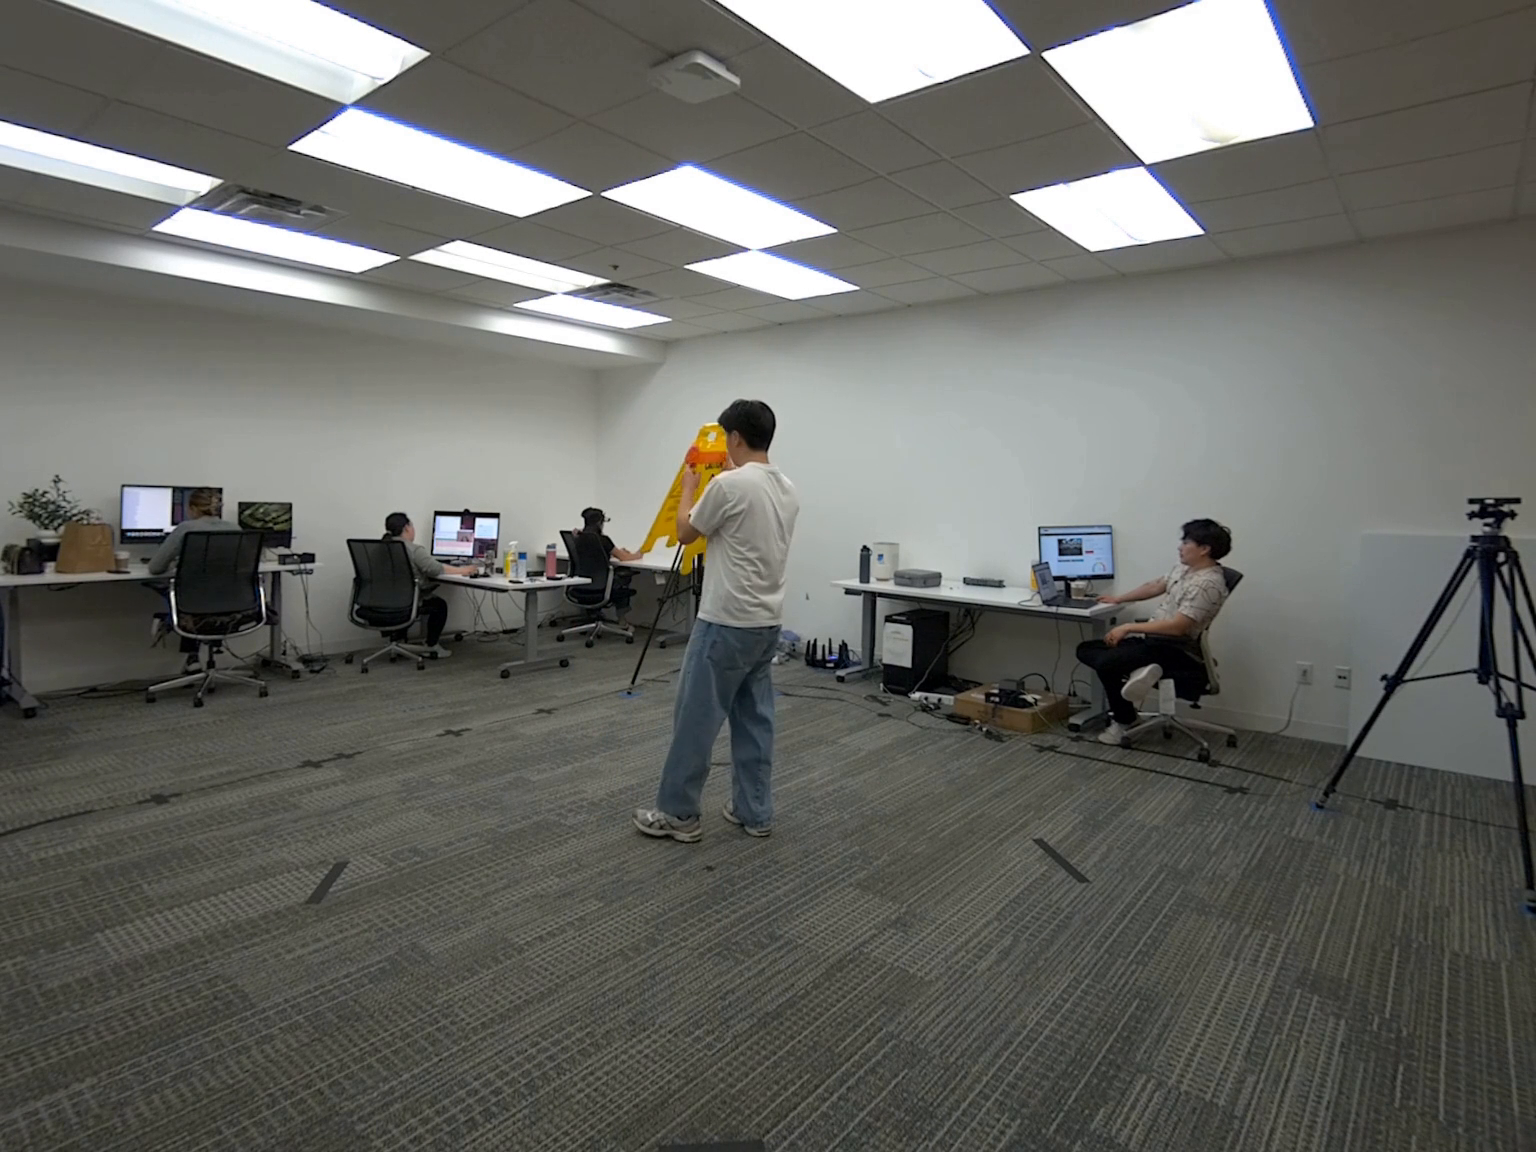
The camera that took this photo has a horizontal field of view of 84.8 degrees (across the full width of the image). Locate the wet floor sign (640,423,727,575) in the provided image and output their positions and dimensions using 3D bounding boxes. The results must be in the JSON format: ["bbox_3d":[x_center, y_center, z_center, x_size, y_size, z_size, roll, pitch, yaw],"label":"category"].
[{"bbox_3d":[-0.331,-0.356,3.776,0.299,0.639,0.276,25,19,24],"label":"wet floor sign"}]
